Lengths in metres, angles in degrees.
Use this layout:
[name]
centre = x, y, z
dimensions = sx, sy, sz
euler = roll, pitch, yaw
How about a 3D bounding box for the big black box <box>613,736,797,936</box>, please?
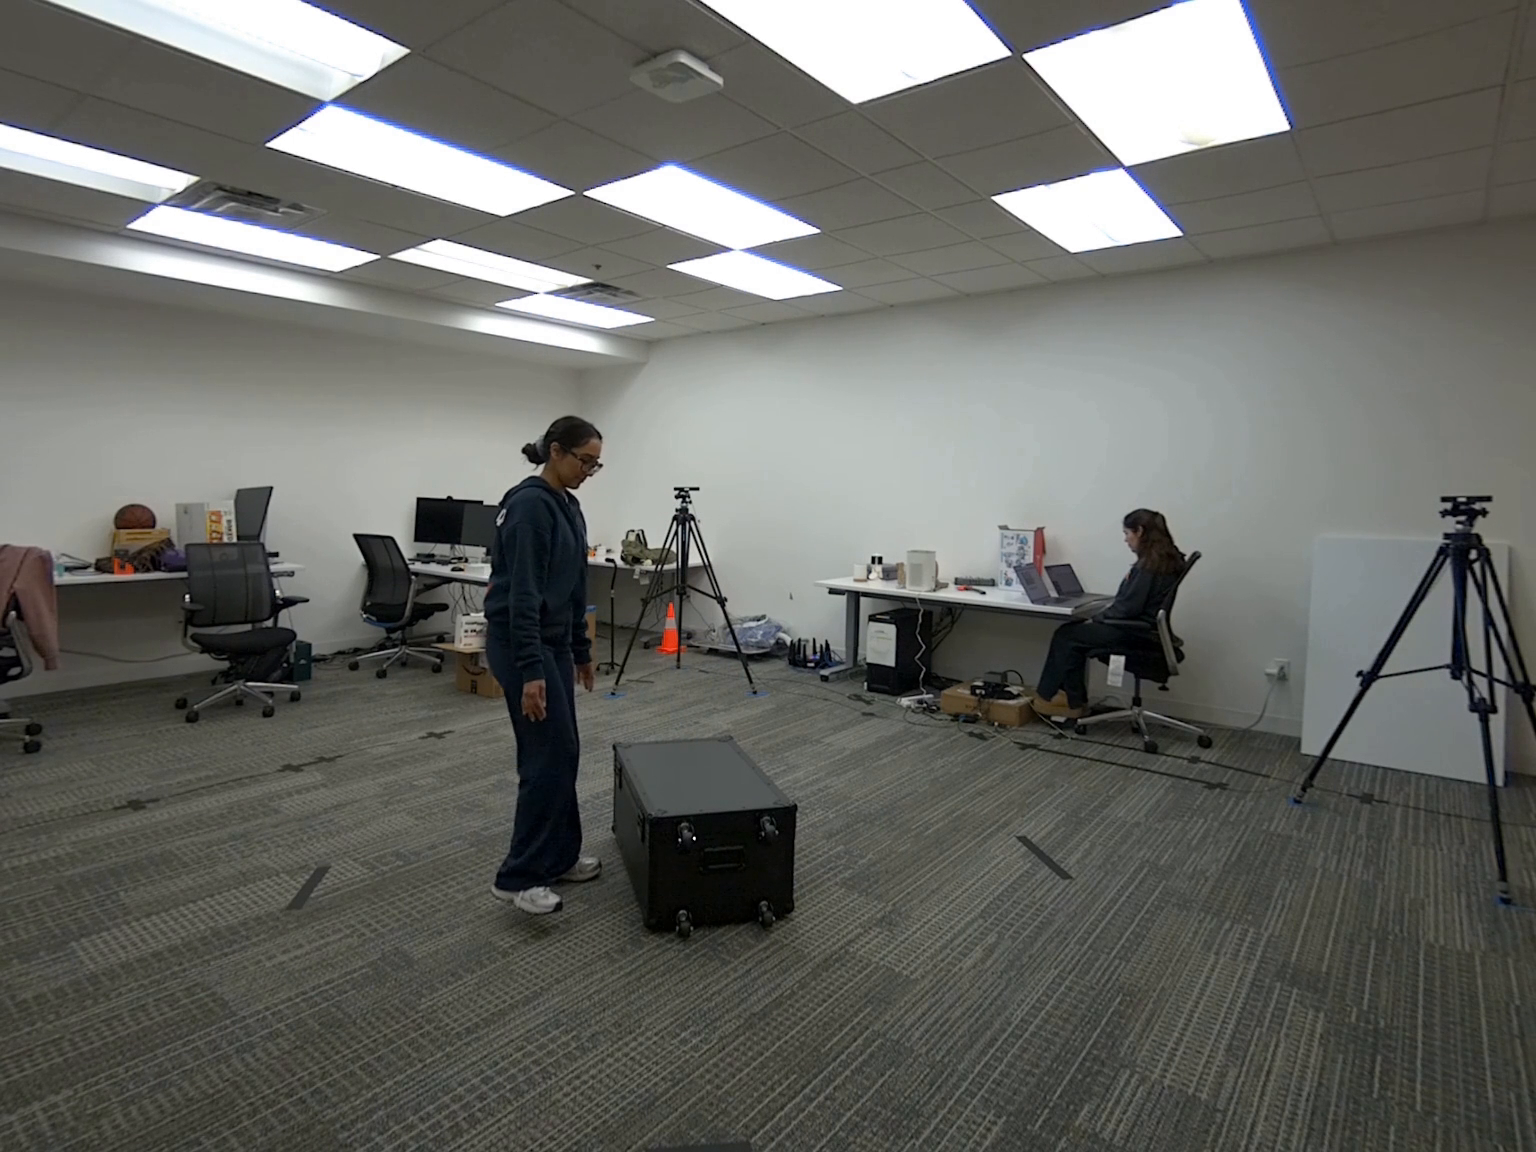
[big black box]
centre = -0.264, 0.883, 3.018
dimensions = 0.512, 0.395, 0.880
euler = -1, 5, -18
